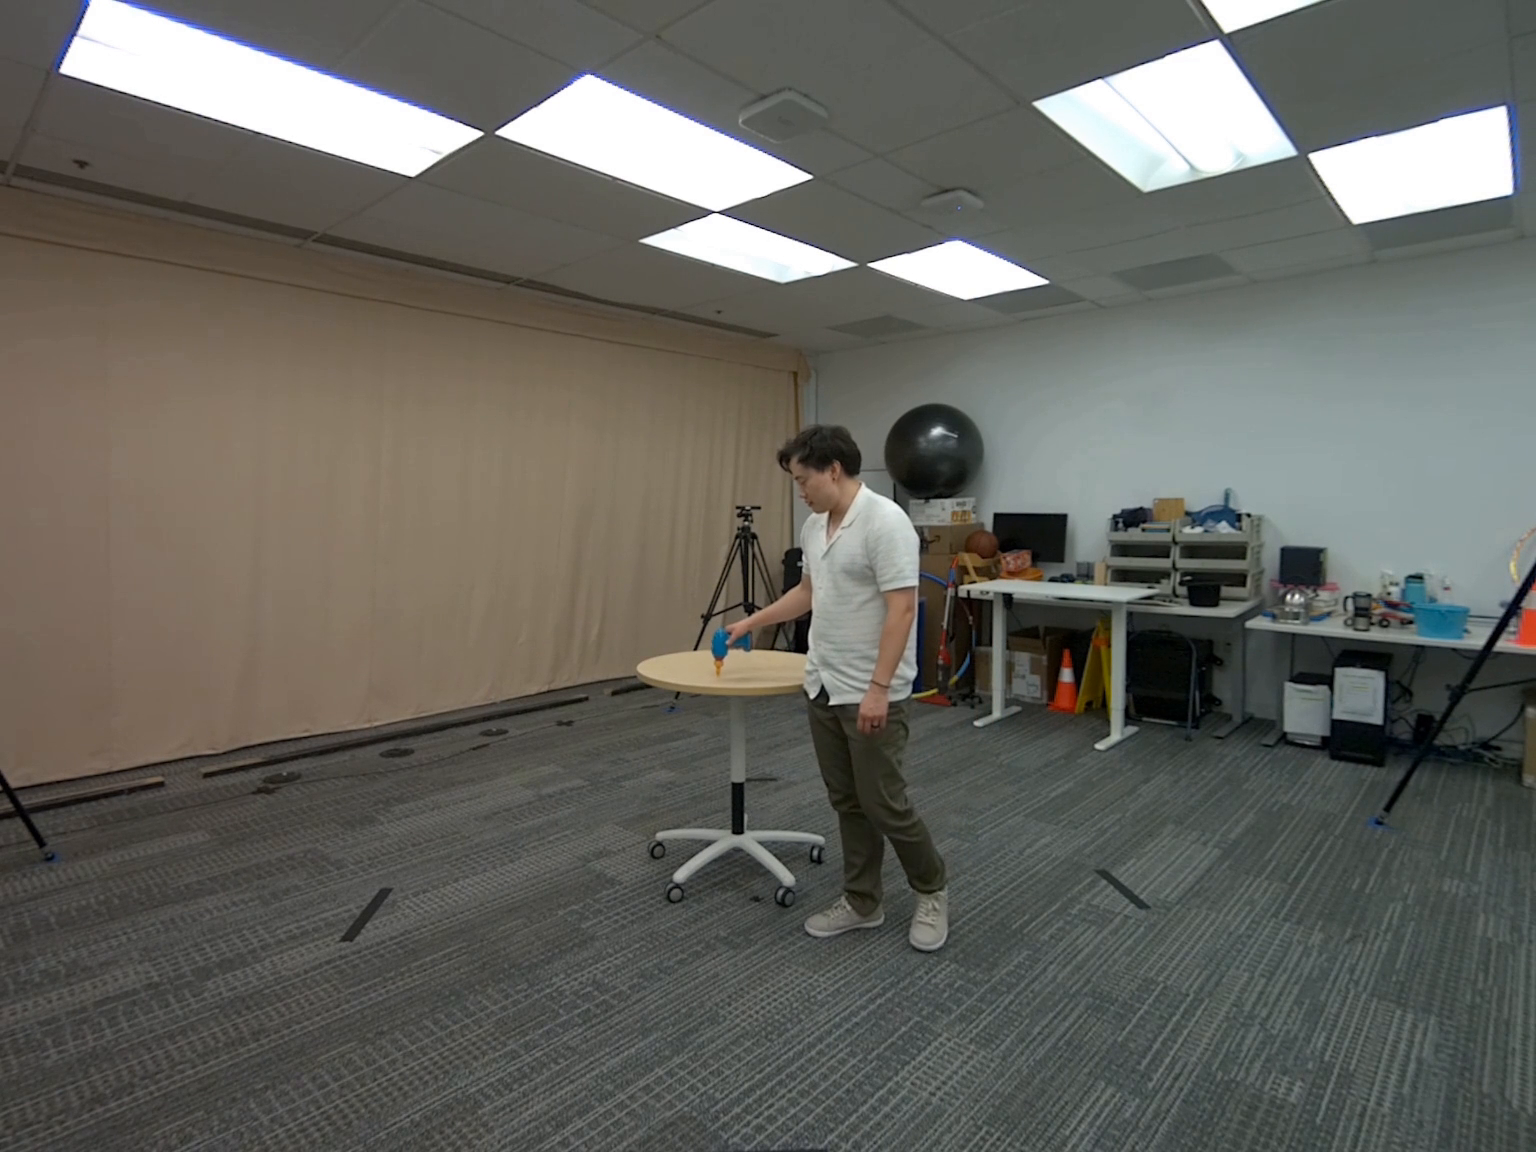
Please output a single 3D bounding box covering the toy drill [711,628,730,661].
[{"bbox_3d":[-0.117,0.268,2.962,0.143,0.170,0.062,4,-5,-17],"label":"toy drill"}]
